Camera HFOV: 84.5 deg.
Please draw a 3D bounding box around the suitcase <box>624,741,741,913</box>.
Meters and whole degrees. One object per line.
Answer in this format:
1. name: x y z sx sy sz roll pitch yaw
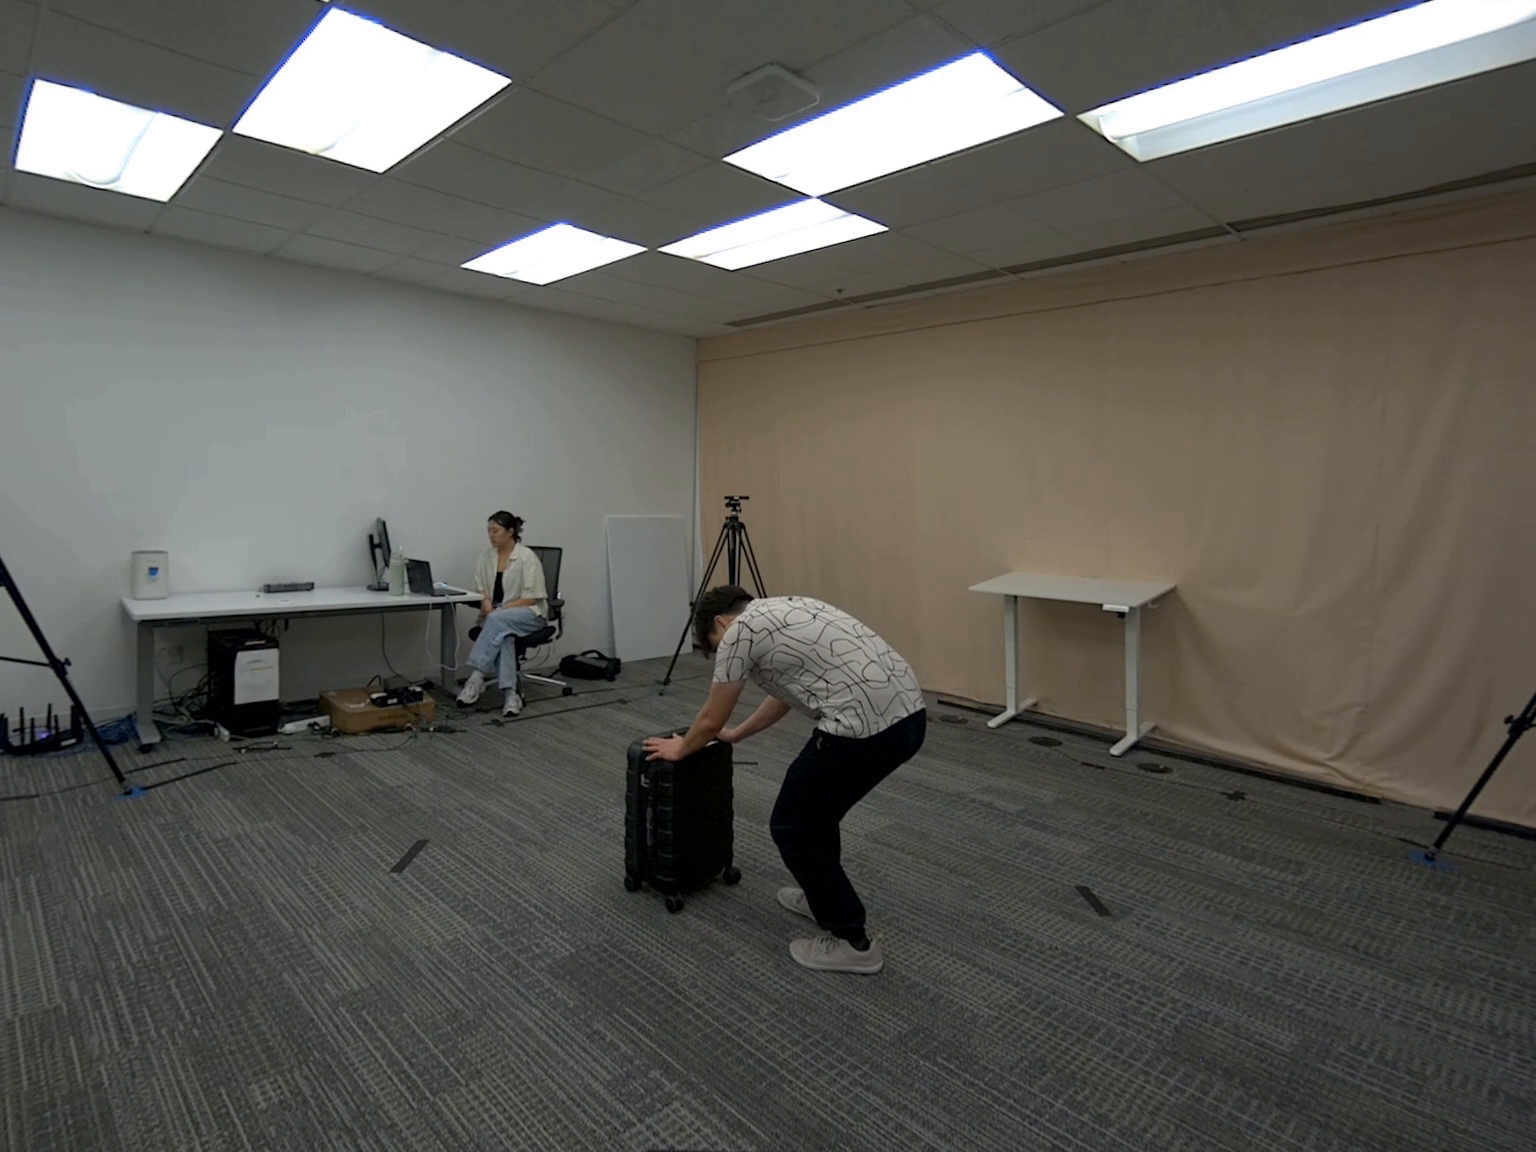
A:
1. suitcase: -0.318 0.835 3.006 0.254 0.549 0.367 2 3 42
